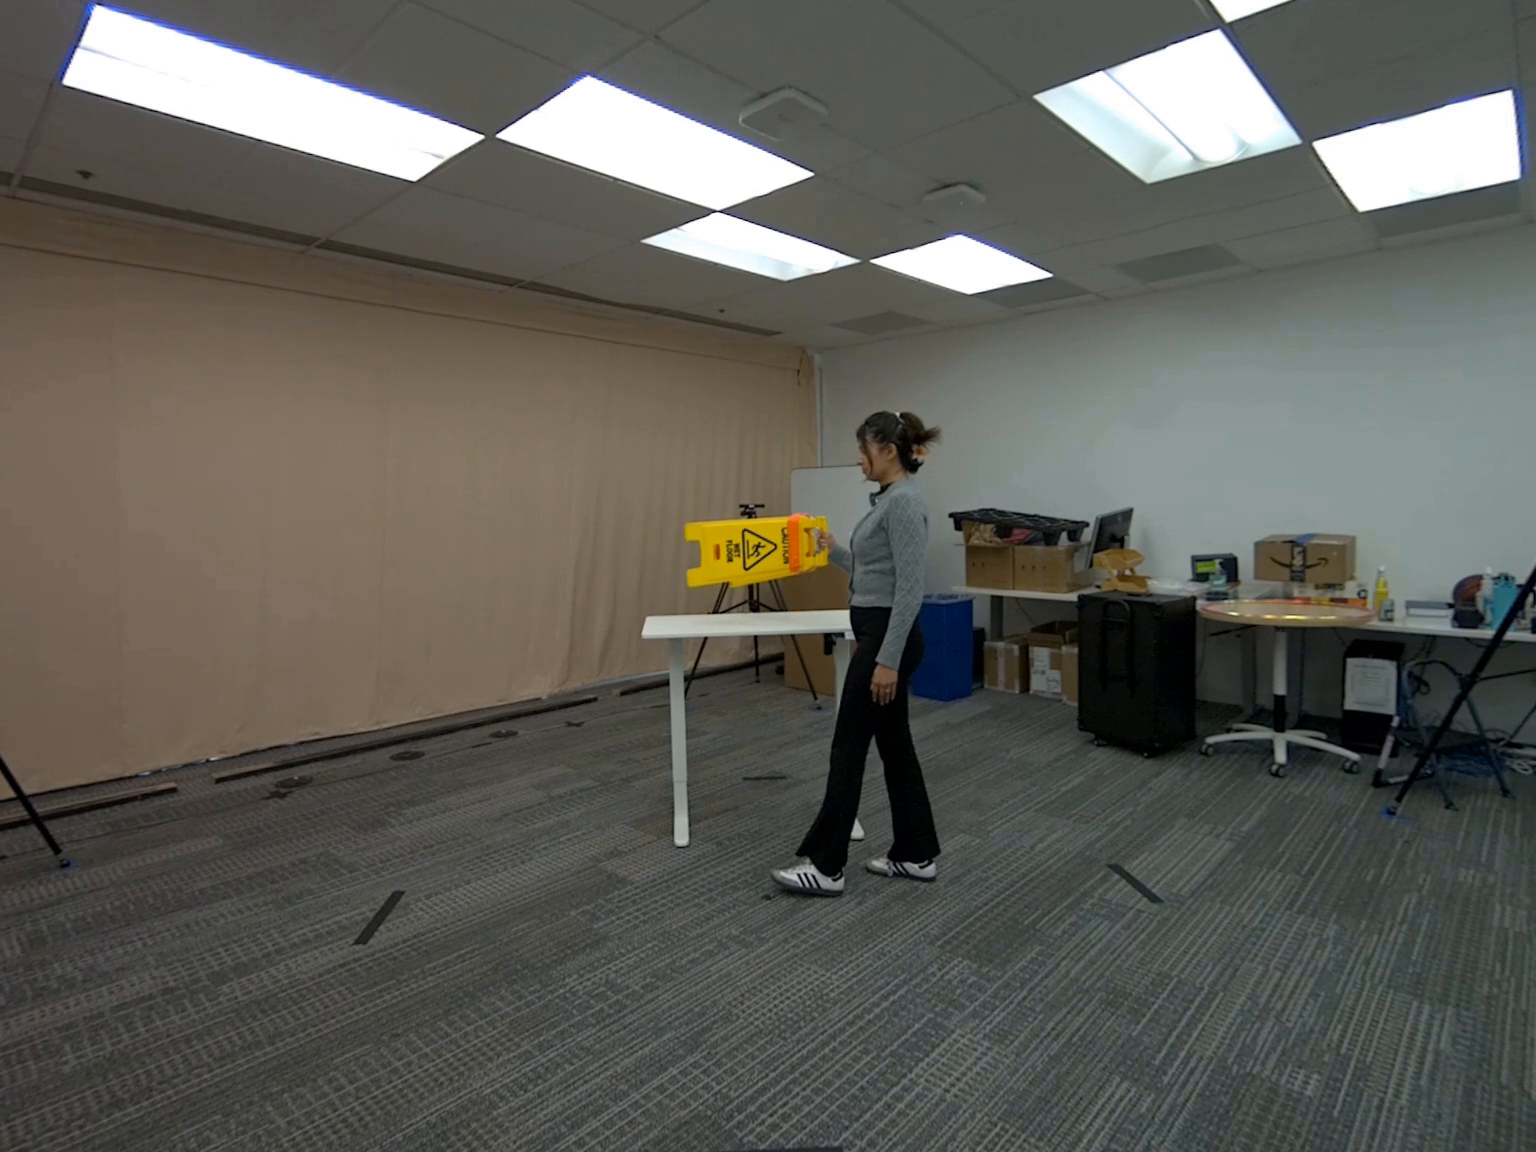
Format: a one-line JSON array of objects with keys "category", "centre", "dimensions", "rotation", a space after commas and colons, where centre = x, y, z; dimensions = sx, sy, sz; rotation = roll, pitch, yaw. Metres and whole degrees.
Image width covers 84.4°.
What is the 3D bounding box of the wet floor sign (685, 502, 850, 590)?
[{"category": "wet floor sign", "centre": [-0.014, -0.113, 3.585], "dimensions": [0.665, 0.283, 0.280], "rotation": [-7, -6, 40]}]
